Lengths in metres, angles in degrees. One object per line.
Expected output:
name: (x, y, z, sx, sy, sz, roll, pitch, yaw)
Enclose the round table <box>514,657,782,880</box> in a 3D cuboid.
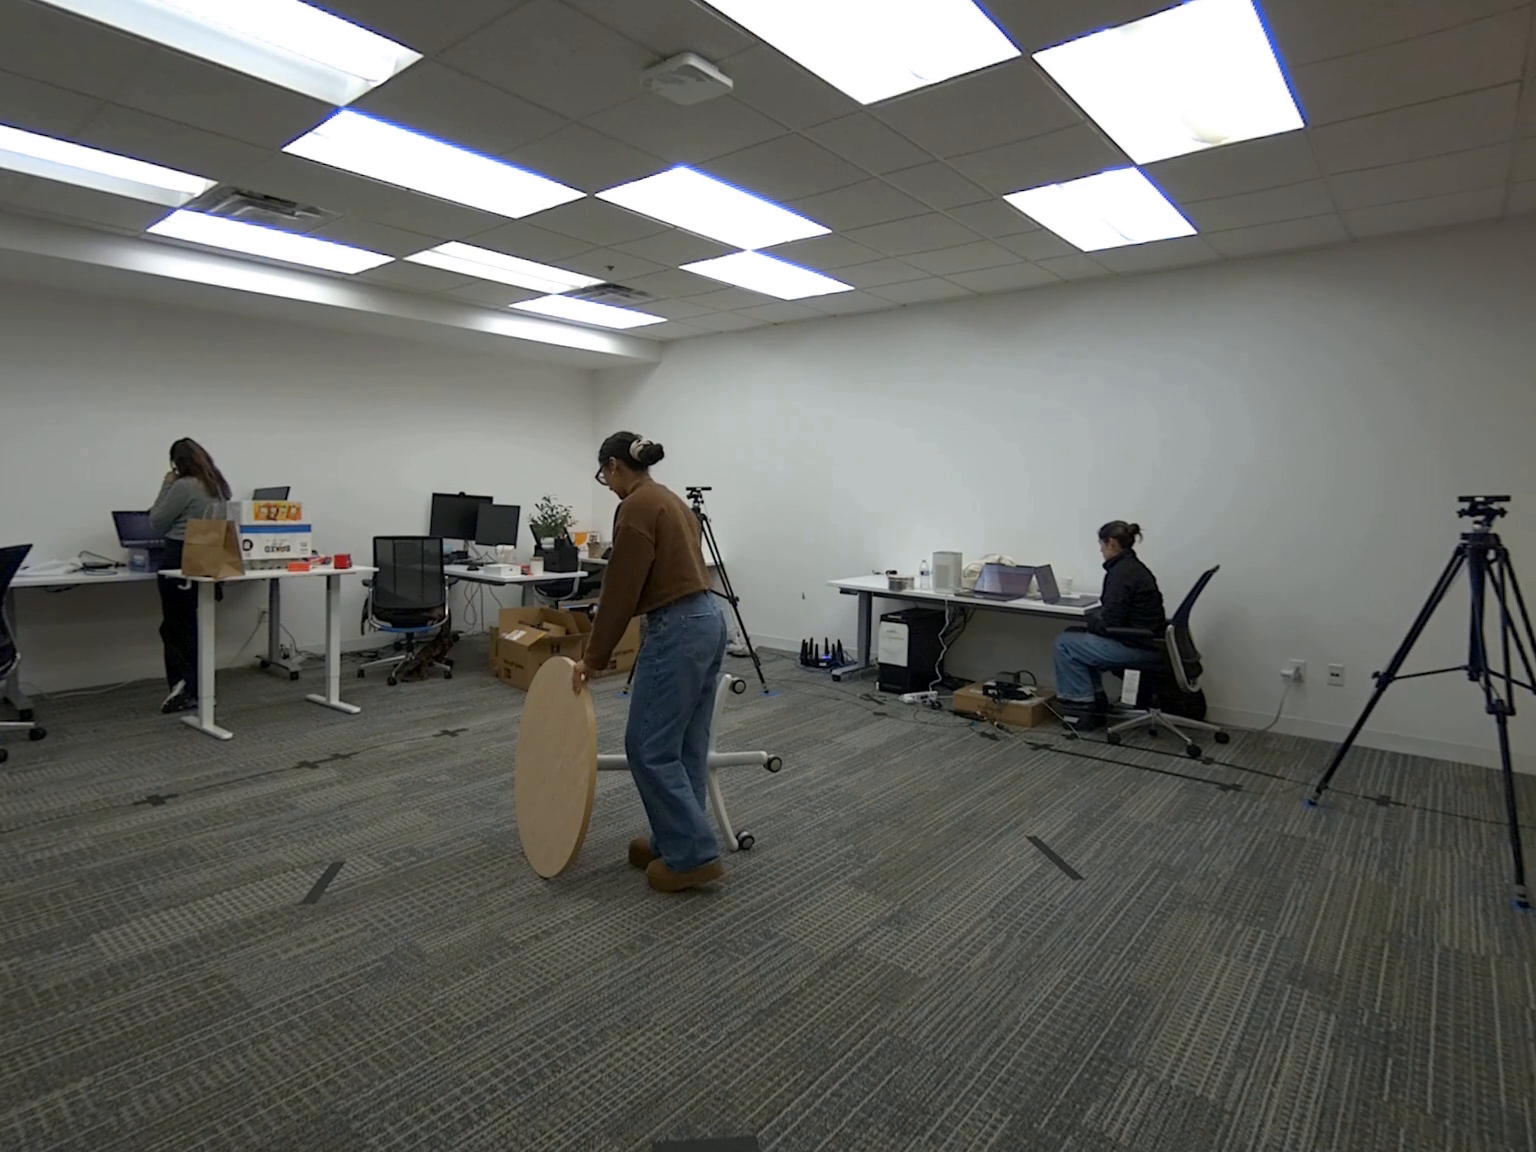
round table: (-0.482, 0.714, 3.276, 0.769, 0.764, 0.788, 7, 0, -32)
